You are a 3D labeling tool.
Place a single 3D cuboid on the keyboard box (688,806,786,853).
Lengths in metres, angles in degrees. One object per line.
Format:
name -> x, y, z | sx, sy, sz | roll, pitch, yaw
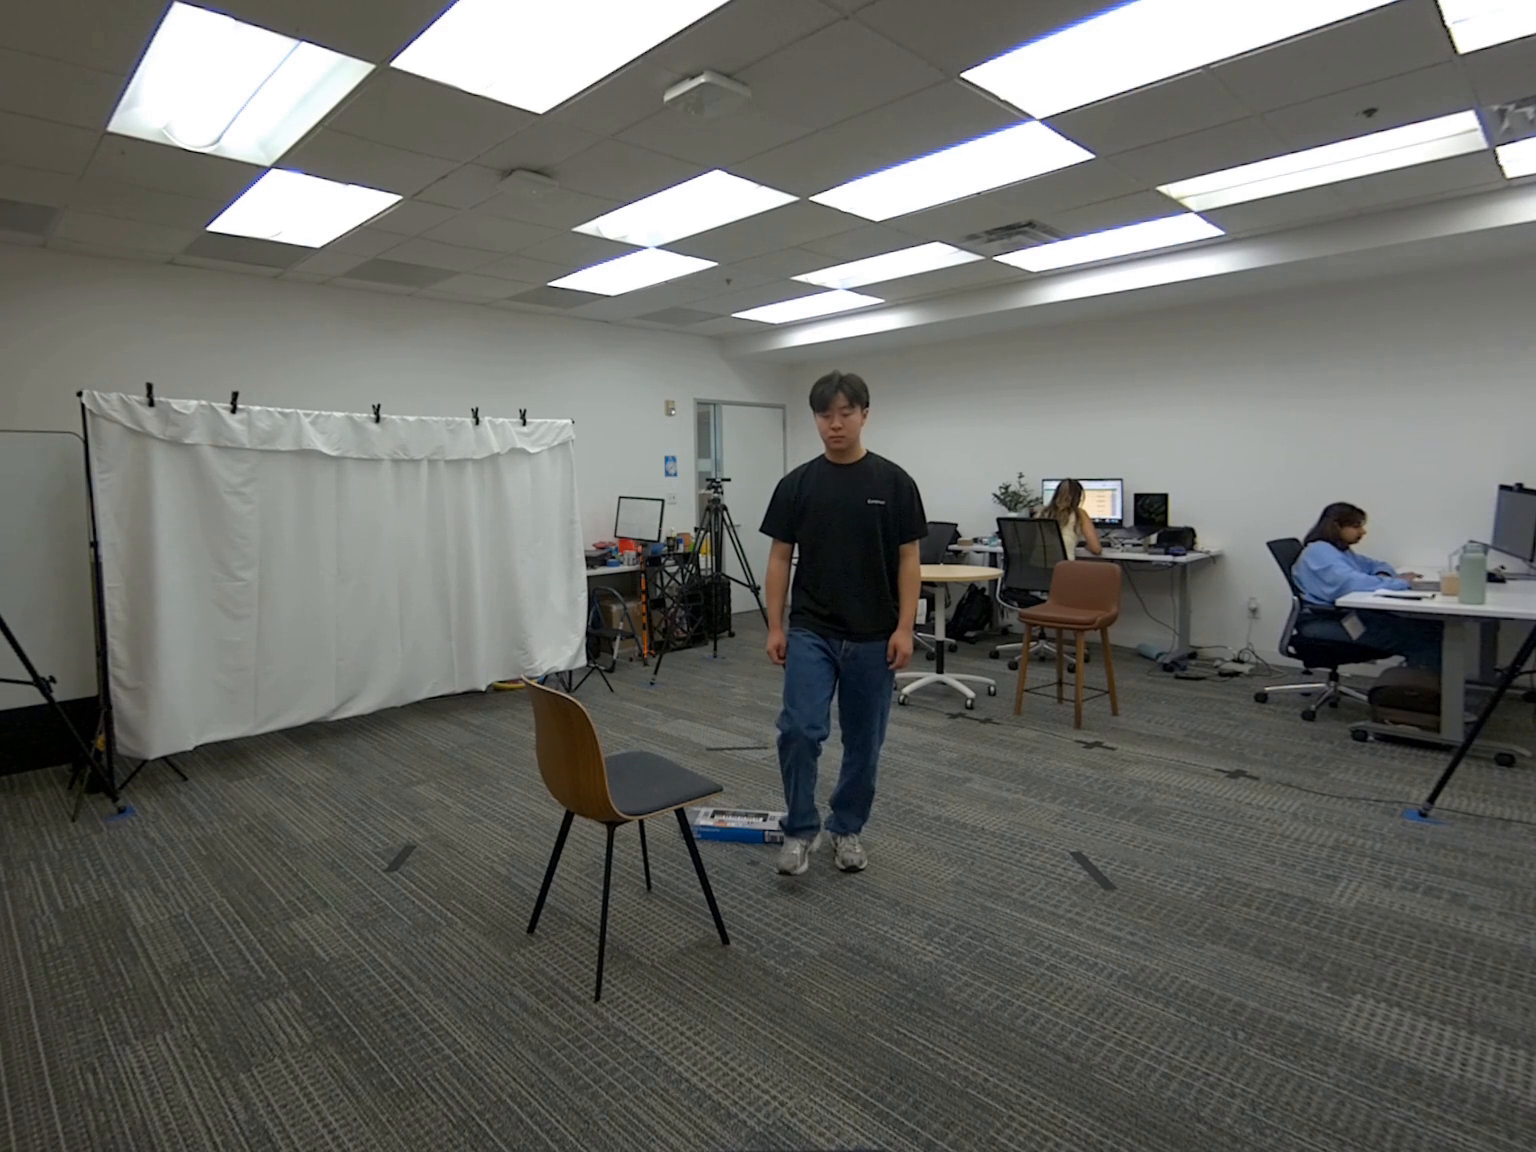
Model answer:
keyboard box -> -0.114, 0.985, 3.372 | 0.441, 0.059, 0.175 | 0, 7, 10
